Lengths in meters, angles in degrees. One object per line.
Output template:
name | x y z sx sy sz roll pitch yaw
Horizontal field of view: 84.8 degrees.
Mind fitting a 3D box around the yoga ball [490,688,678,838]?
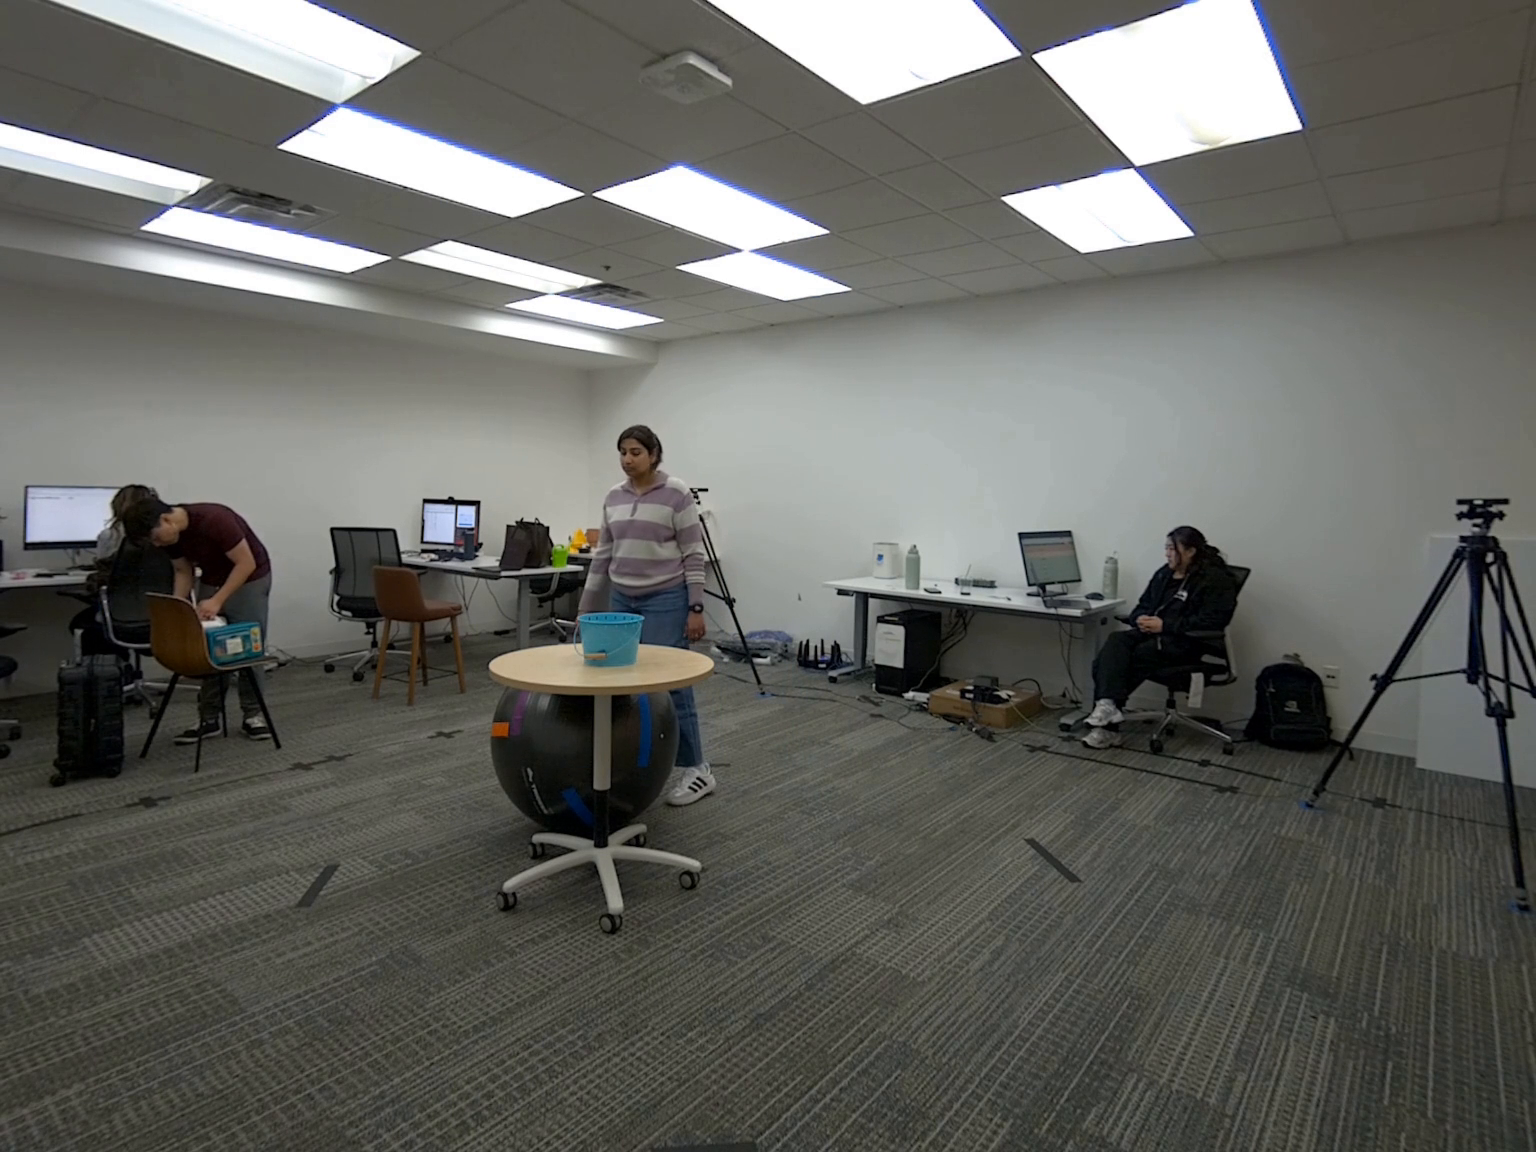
yoga ball | -0.759 0.652 3.468 0.757 0.755 0.762 1 4 -2
